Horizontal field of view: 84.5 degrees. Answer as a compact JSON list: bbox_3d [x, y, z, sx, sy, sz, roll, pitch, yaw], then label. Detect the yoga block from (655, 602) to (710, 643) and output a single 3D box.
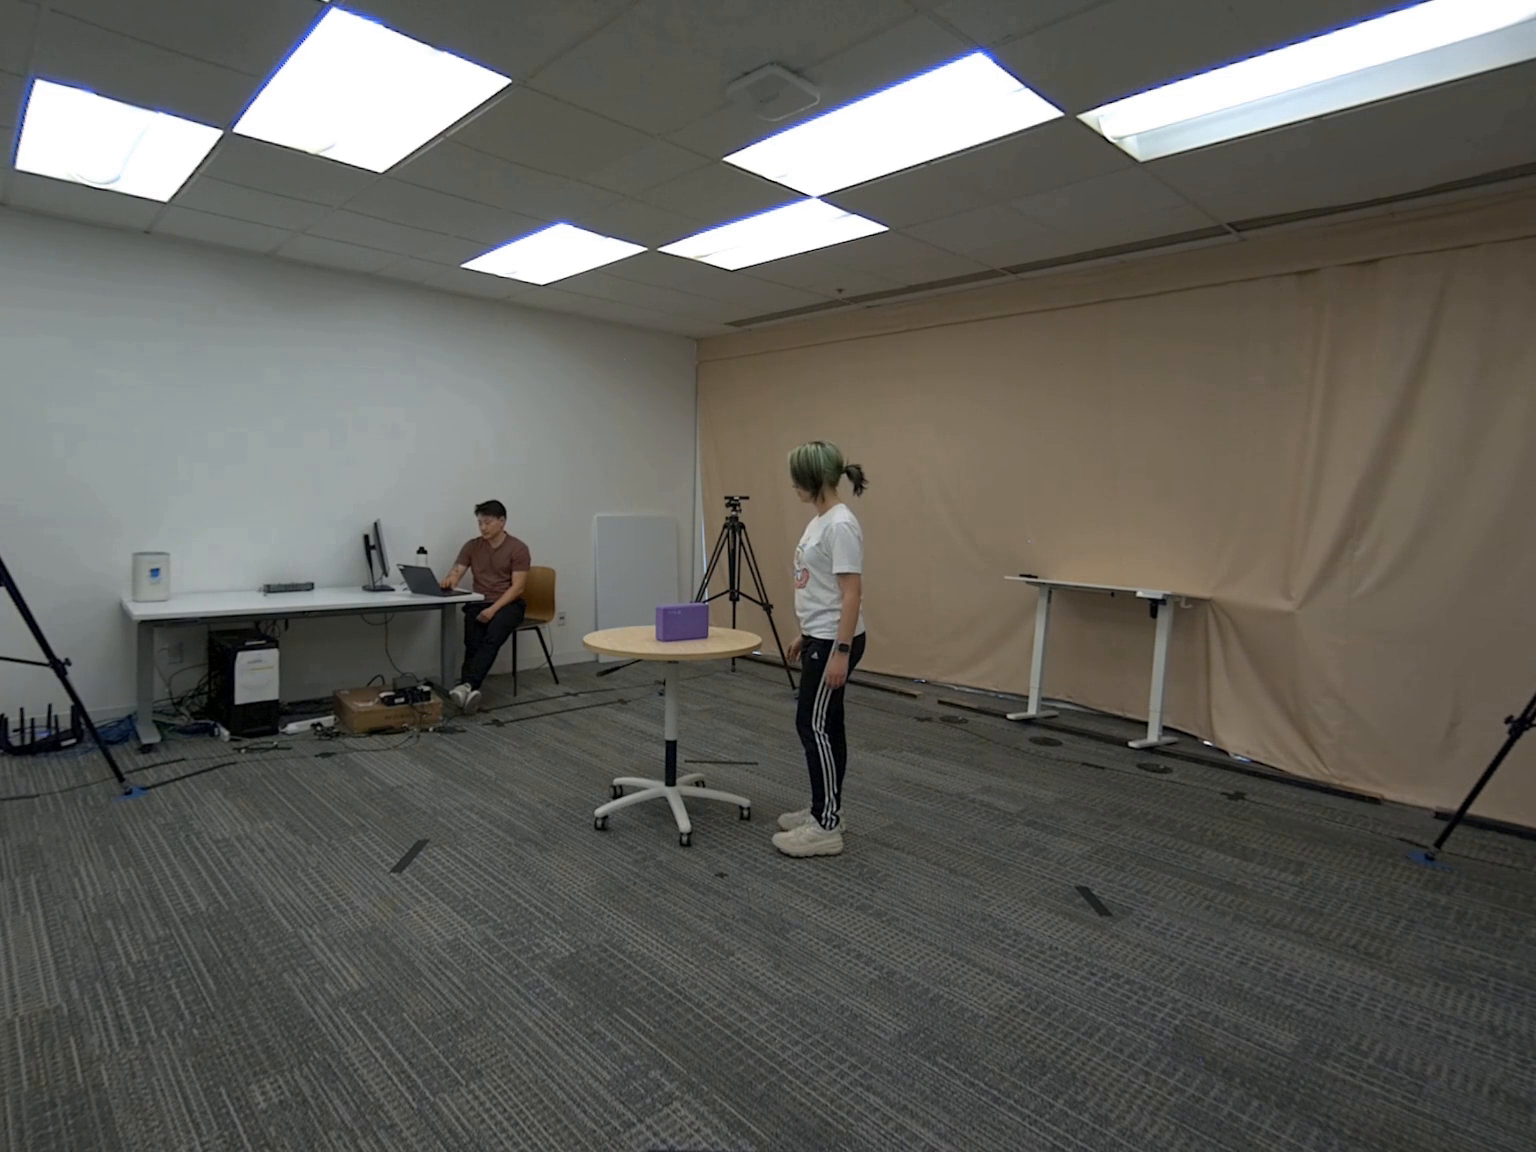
[{"bbox_3d":[-0.370,0.192,3.601,0.224,0.149,0.078,-2,3,-36],"label":"yoga block"}]
